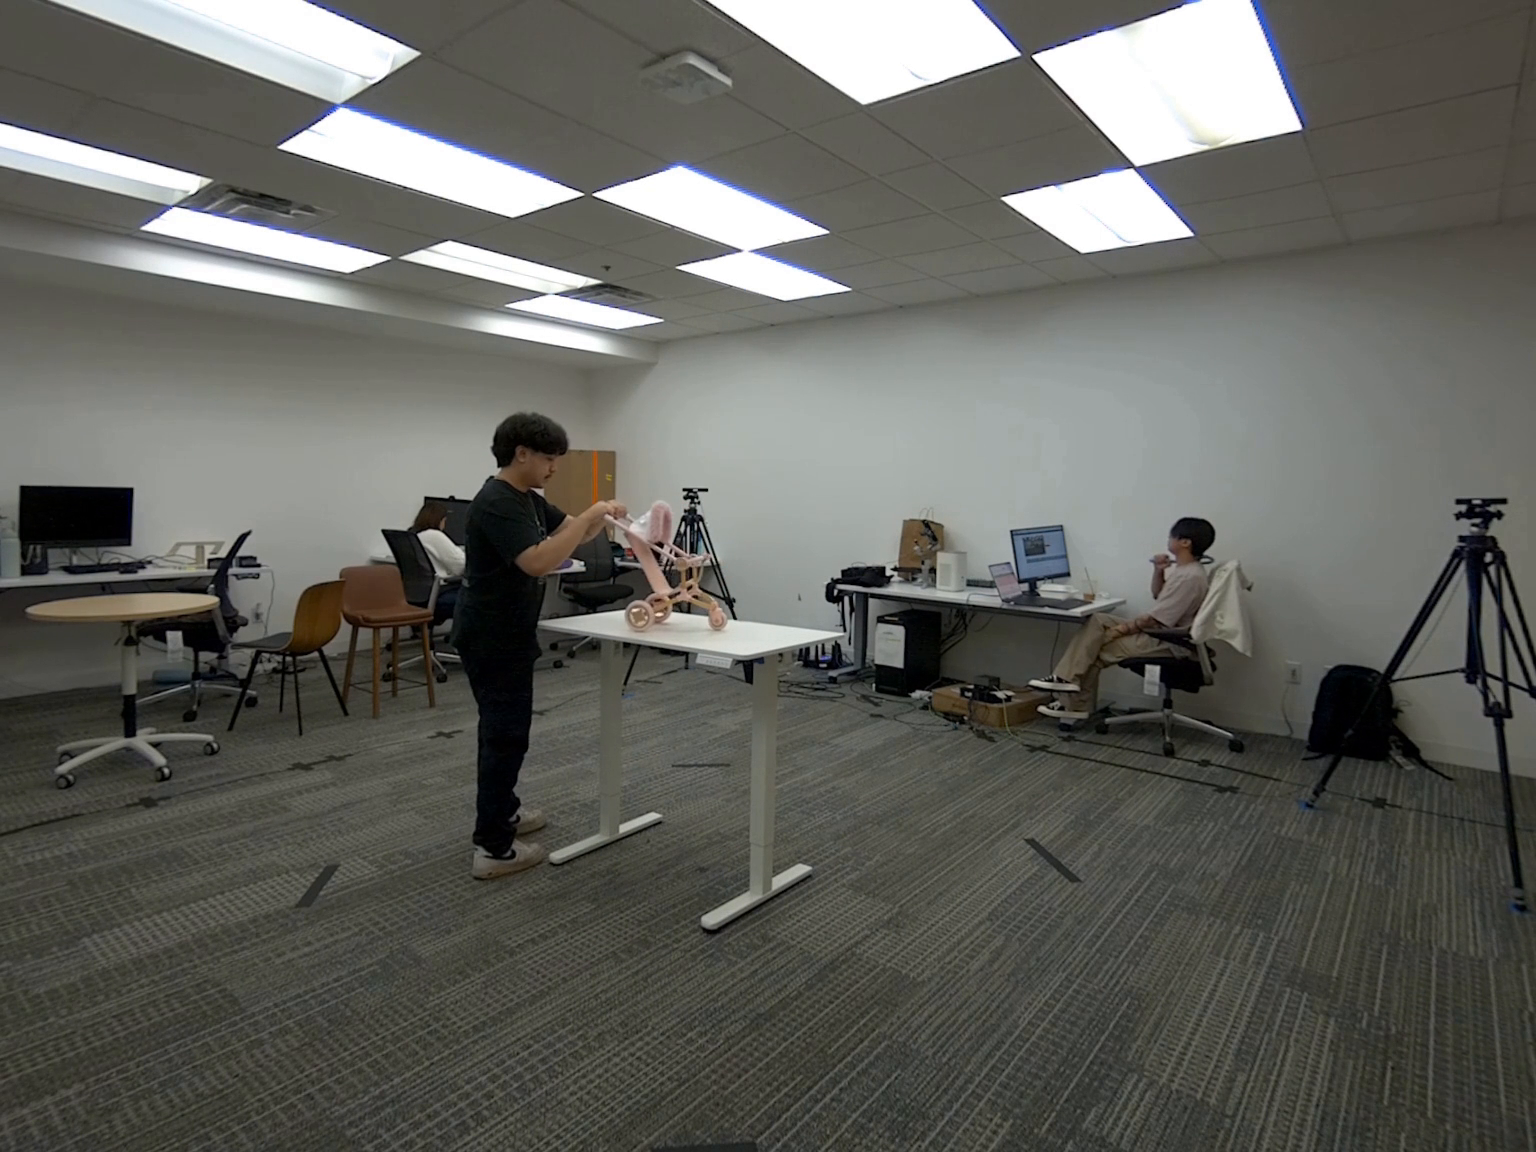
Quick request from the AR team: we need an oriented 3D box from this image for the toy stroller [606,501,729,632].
[{"bbox_3d":[-0.380,-0.033,3.078,0.345,0.536,0.278,-14,-1,14],"label":"toy stroller"}]
